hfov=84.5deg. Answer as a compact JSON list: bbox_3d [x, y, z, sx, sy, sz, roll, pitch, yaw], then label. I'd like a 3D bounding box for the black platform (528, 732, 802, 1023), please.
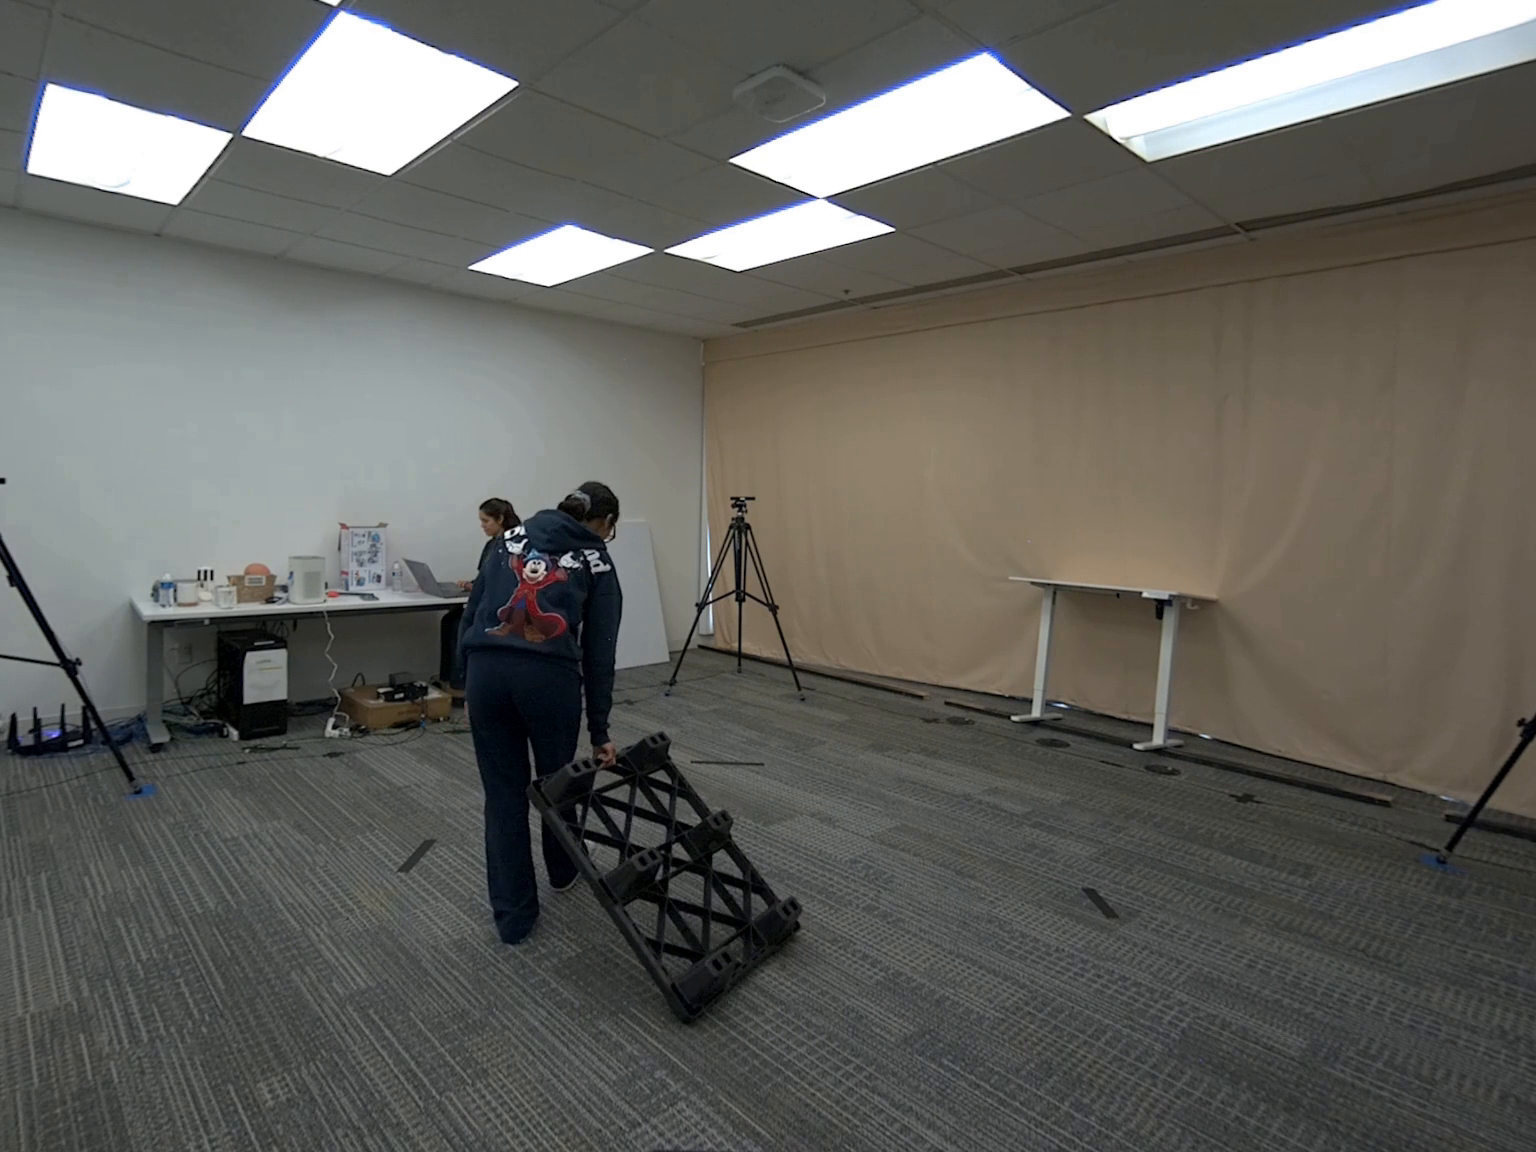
[{"bbox_3d":[-0.284,0.857,2.589,0.824,0.143,0.593,46,25,22],"label":"black platform"}]
